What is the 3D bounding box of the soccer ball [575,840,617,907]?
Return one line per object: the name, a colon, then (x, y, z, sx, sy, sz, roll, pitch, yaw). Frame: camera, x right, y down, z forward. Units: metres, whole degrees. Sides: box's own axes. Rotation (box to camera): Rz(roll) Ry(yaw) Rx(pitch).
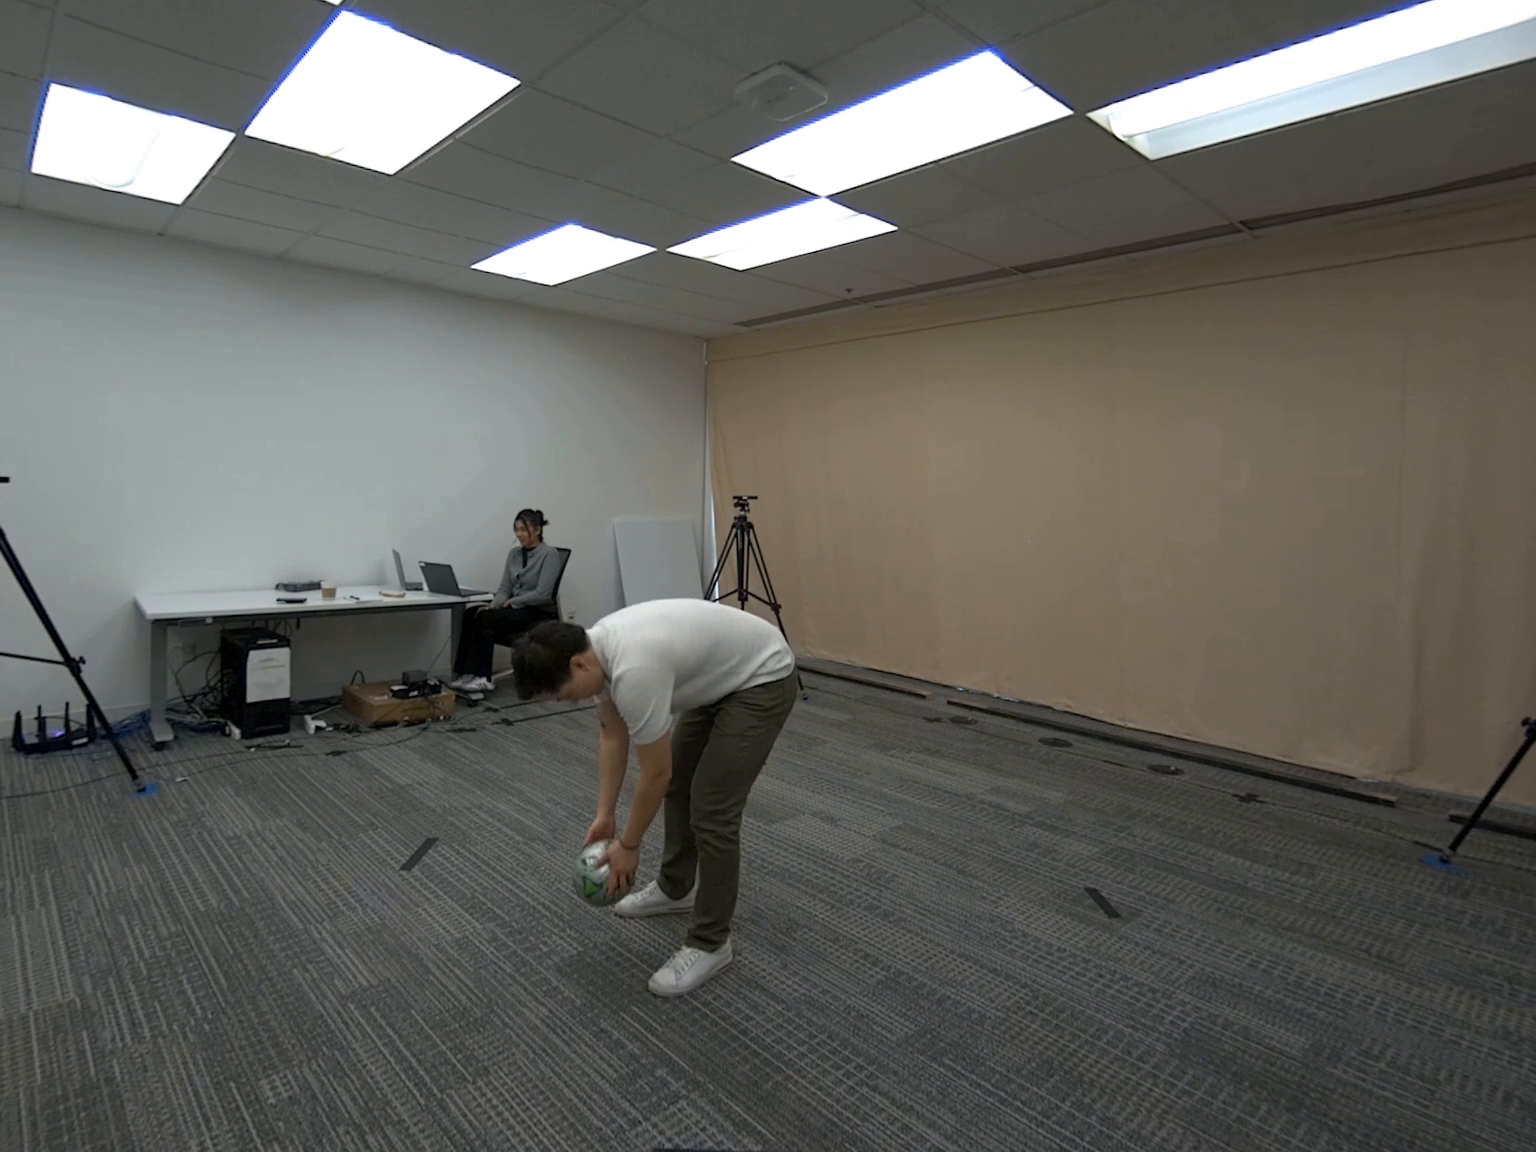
soccer ball: (-0.492, 0.871, 2.498, 0.187, 0.187, 0.188, 1, 4, -1)
